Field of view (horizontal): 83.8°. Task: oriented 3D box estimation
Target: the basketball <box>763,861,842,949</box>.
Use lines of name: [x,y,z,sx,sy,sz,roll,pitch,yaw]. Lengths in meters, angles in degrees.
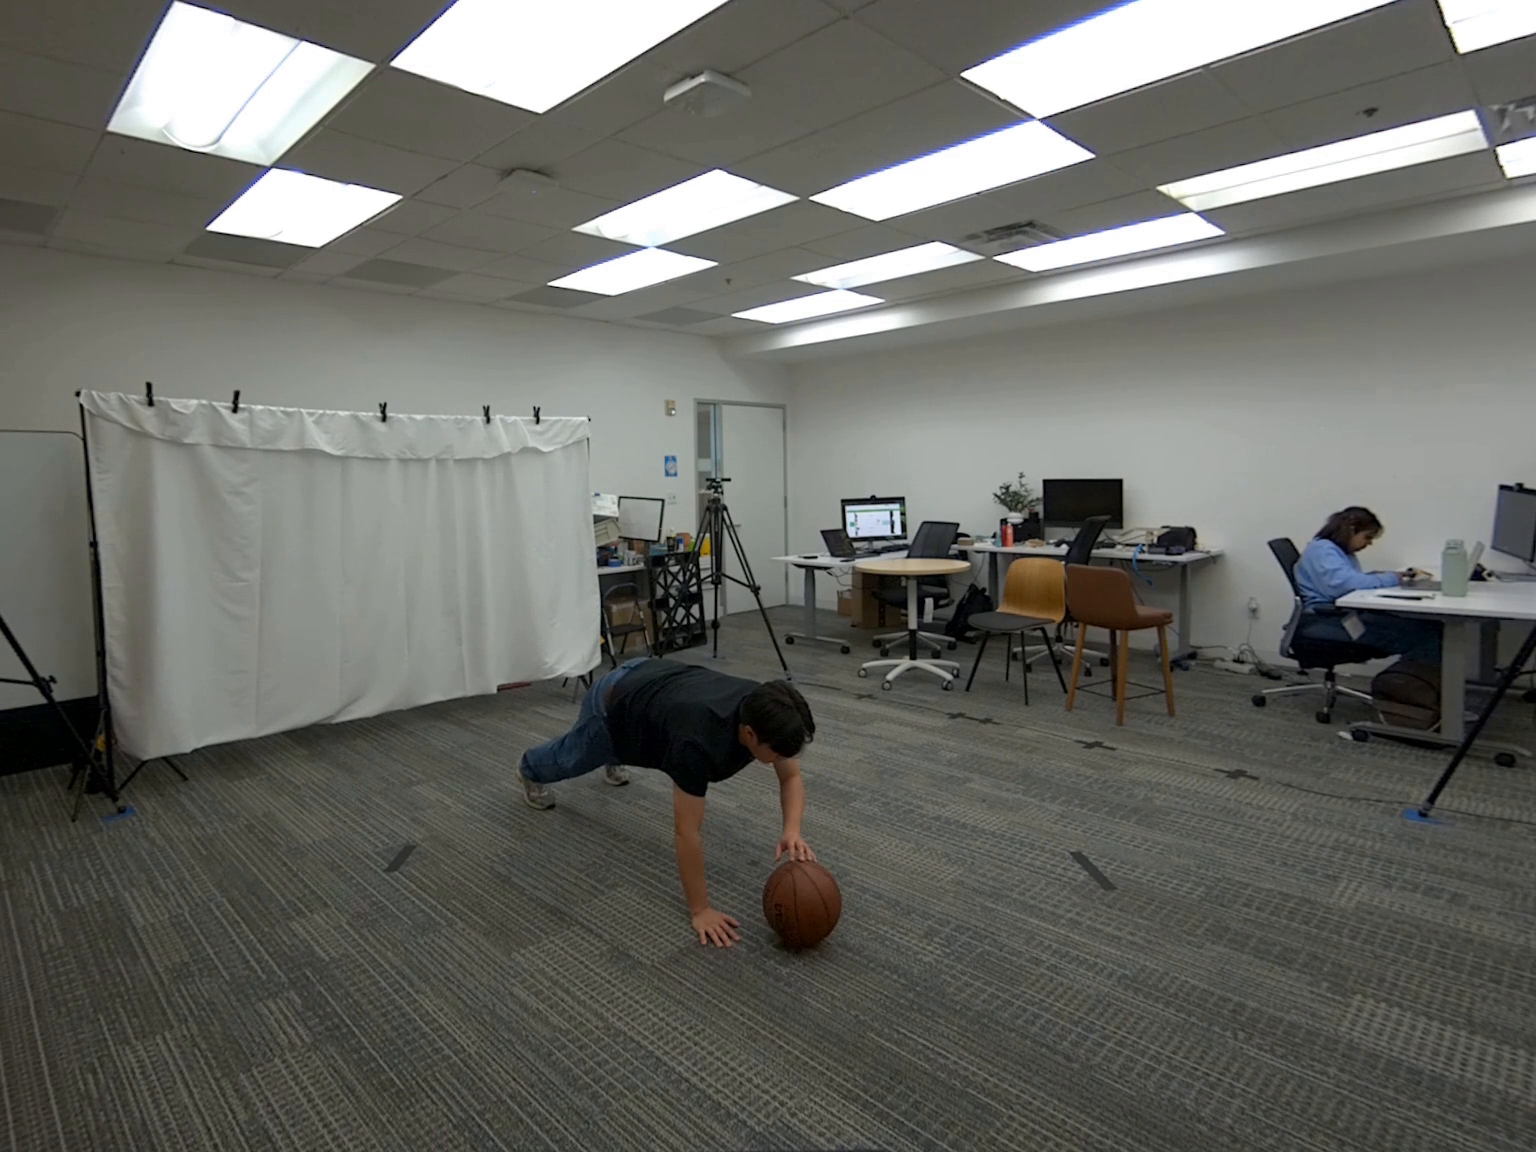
basketball: [0.109,0.977,2.580,0.236,0.235,0.237,-1,5,-2]
